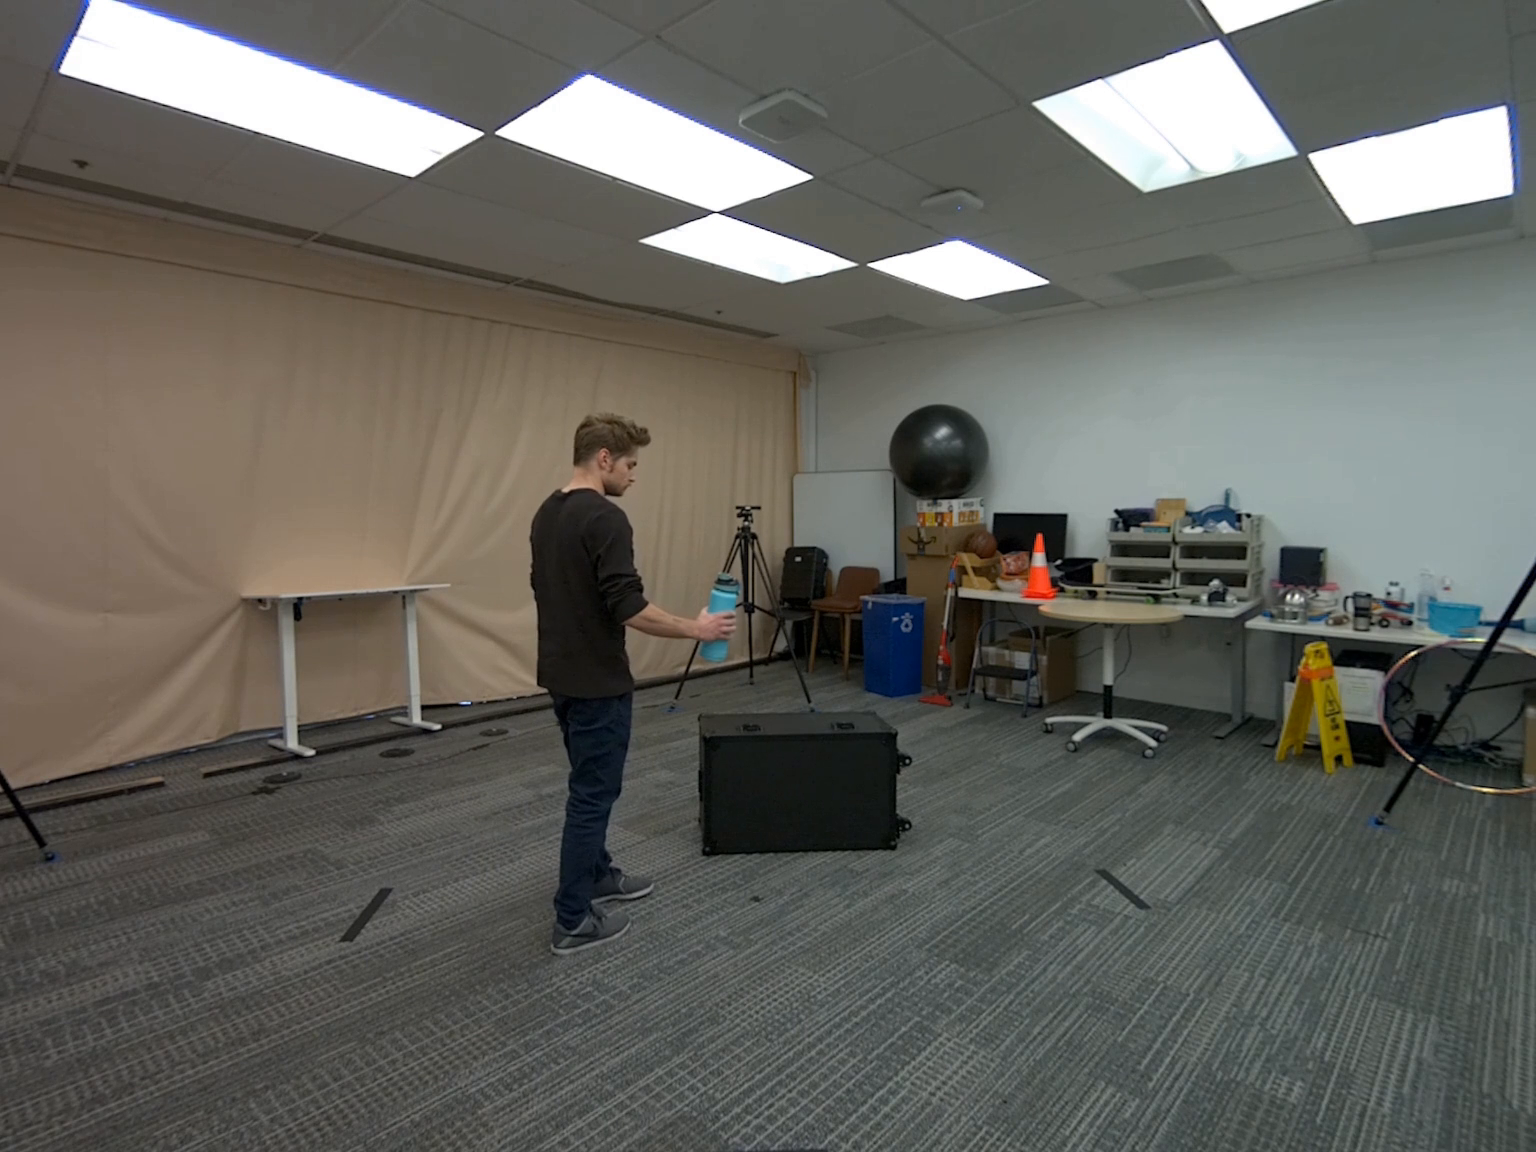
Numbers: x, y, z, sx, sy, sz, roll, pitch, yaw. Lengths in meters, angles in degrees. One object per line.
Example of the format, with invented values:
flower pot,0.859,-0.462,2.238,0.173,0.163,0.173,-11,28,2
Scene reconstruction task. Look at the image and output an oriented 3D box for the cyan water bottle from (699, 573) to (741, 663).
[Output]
cyan water bottle,-0.158,0.132,2.763,0.092,0.283,0.093,14,6,-3
